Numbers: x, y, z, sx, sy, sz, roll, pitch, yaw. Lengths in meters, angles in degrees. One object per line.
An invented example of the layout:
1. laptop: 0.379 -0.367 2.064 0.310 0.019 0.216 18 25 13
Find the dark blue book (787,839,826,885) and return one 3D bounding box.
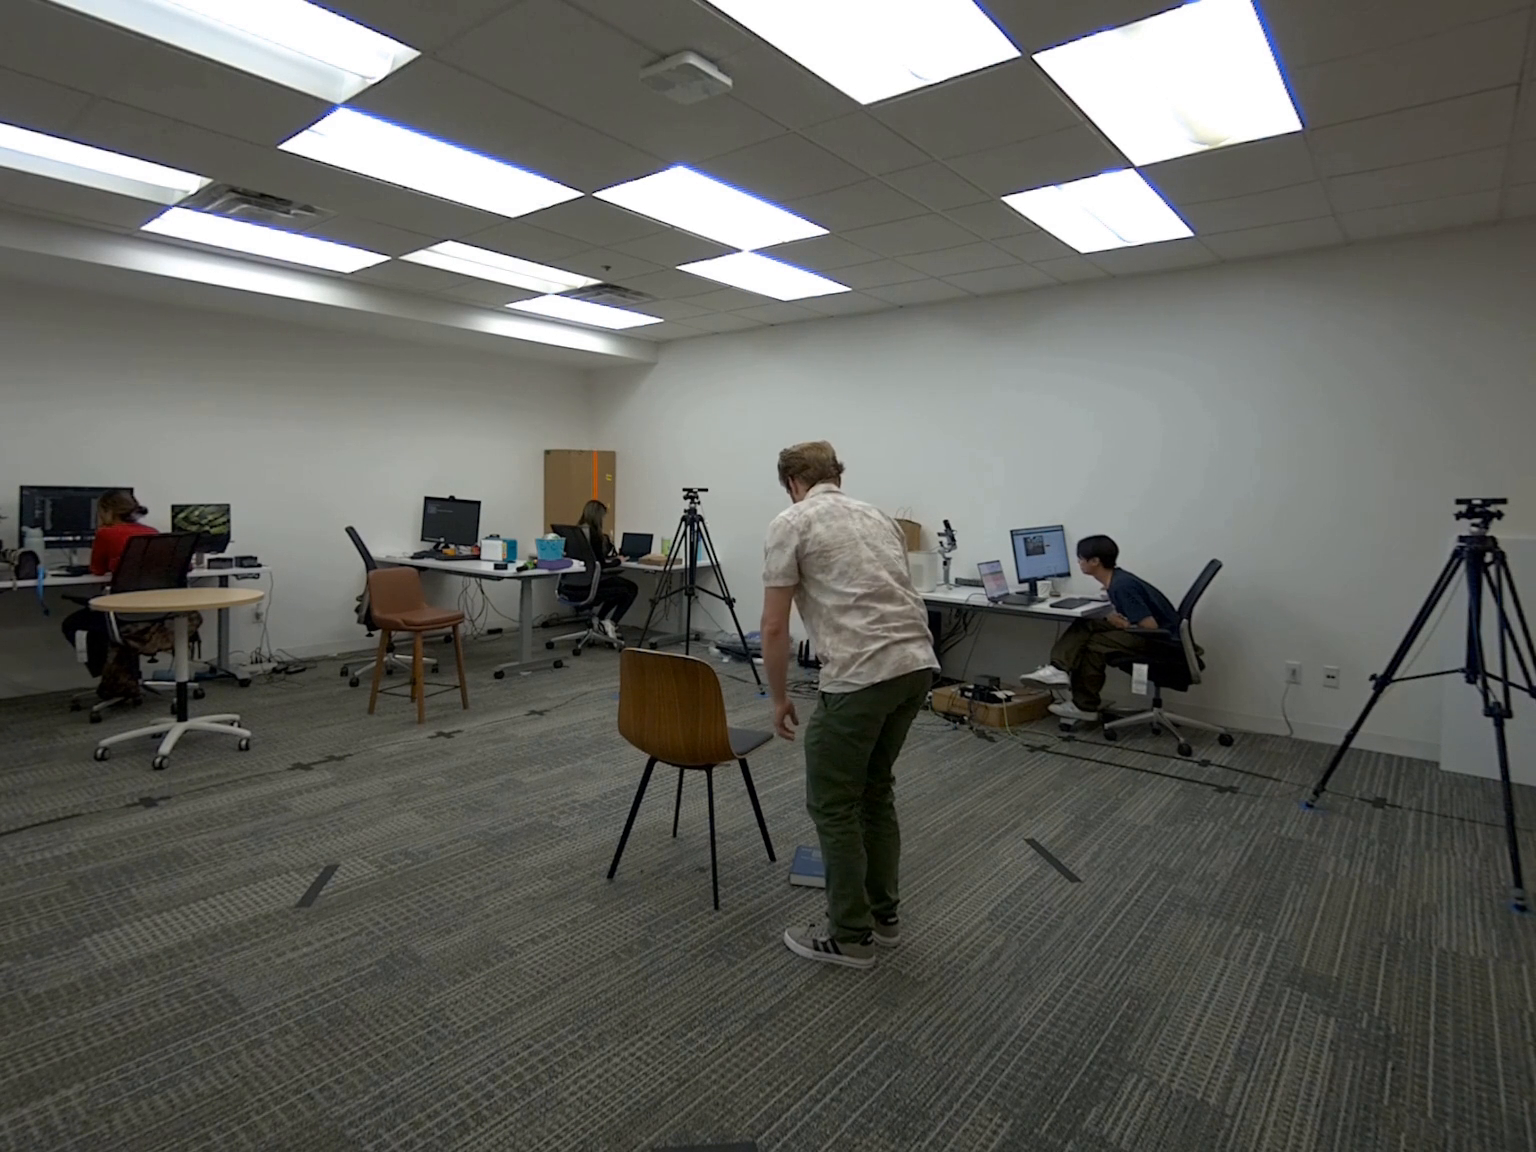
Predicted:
1. dark blue book: 0.169 1.050 3.097 0.165 0.045 0.243 3 5 9
